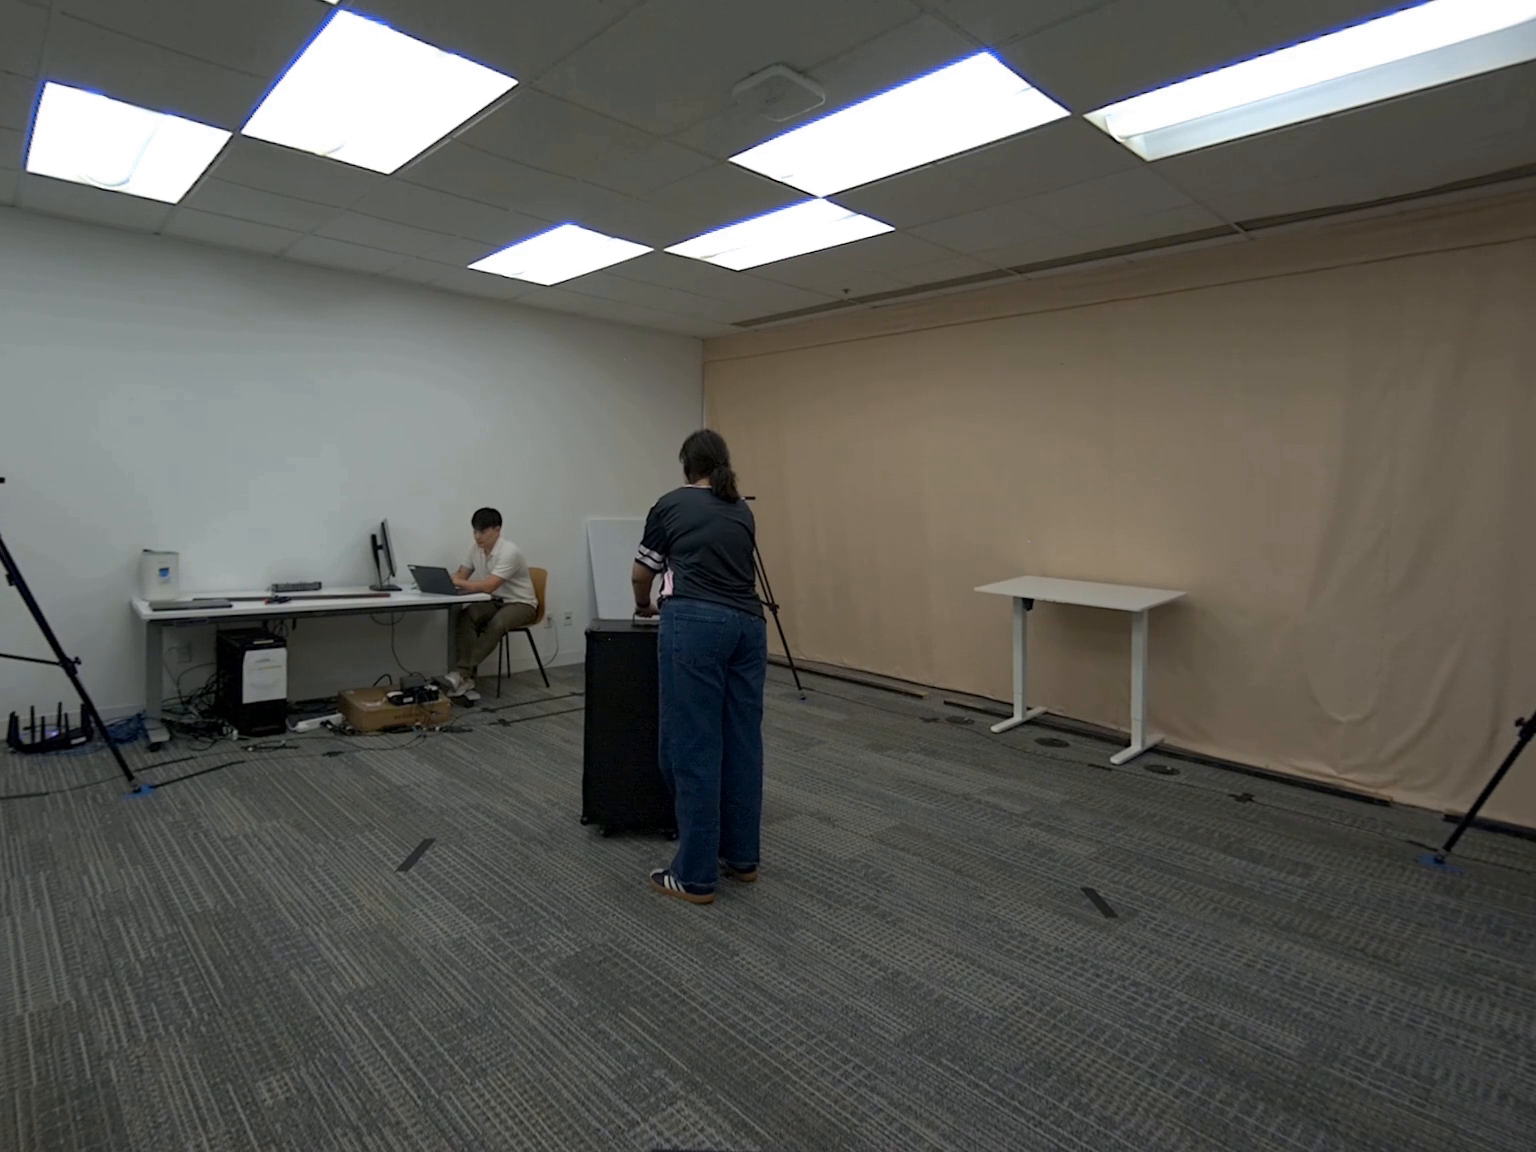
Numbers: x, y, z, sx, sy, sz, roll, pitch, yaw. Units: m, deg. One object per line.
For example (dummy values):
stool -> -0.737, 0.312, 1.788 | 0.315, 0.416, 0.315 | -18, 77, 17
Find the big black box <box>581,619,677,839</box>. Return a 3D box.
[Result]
big black box -> -0.536, 0.634, 3.548 | 0.520, 0.867, 0.388 | 2, 3, -8
